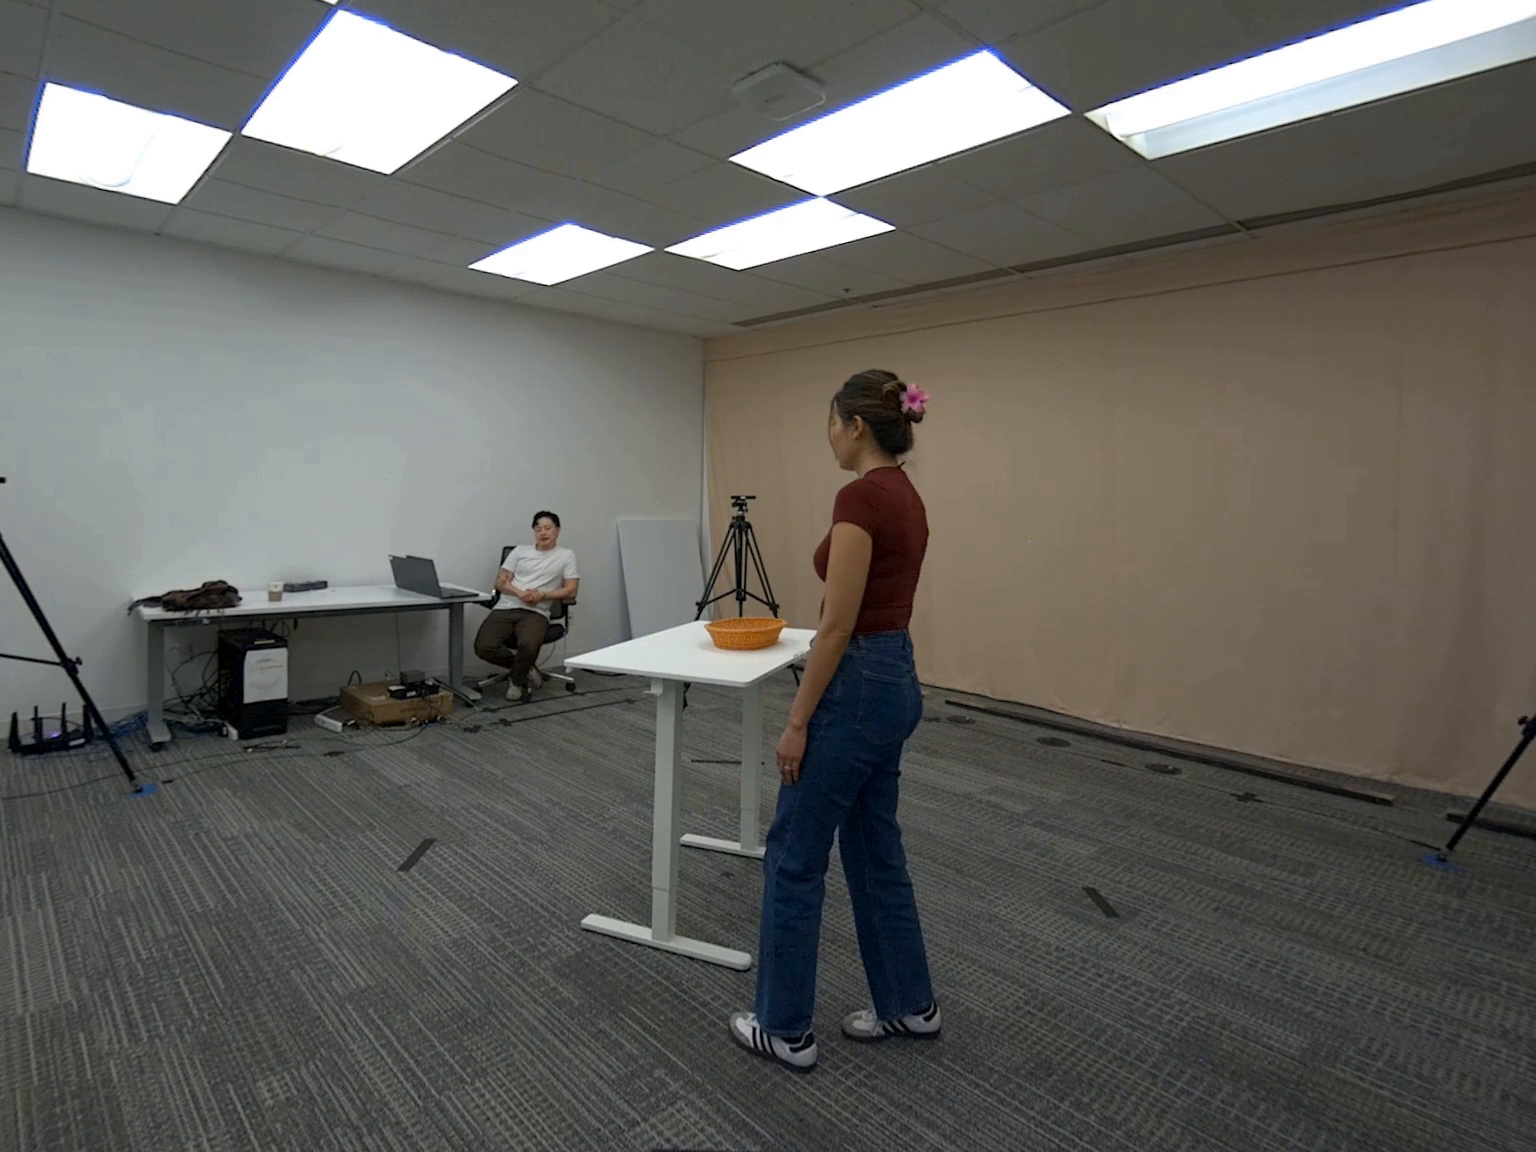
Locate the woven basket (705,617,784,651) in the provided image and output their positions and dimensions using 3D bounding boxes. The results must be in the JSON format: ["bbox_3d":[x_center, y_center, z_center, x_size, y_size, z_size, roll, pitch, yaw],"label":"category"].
[{"bbox_3d":[-0.081,0.208,2.937,0.257,0.073,0.345,2,5,24],"label":"woven basket"}]
